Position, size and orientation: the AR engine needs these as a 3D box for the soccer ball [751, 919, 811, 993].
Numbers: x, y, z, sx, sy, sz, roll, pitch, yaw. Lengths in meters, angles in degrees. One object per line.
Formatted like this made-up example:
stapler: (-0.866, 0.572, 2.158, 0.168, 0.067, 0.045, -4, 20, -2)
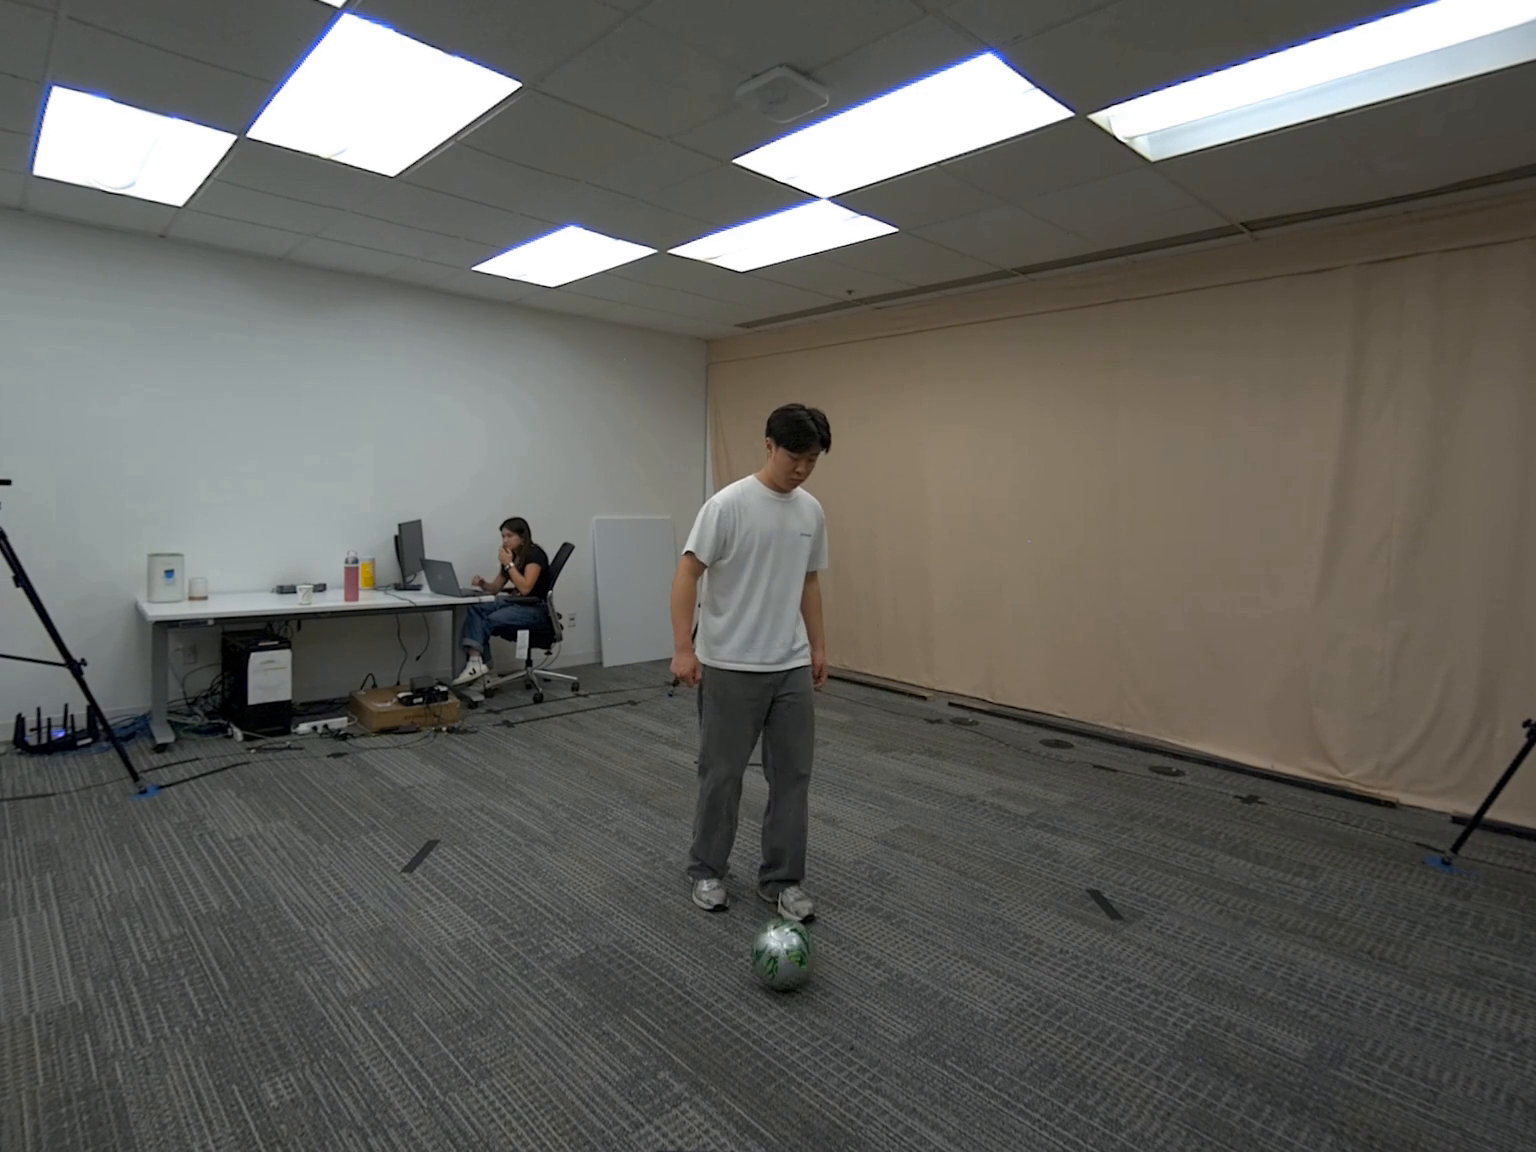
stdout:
soccer ball: (0.033, 1.088, 2.407, 0.187, 0.187, 0.188, 1, 4, -1)
